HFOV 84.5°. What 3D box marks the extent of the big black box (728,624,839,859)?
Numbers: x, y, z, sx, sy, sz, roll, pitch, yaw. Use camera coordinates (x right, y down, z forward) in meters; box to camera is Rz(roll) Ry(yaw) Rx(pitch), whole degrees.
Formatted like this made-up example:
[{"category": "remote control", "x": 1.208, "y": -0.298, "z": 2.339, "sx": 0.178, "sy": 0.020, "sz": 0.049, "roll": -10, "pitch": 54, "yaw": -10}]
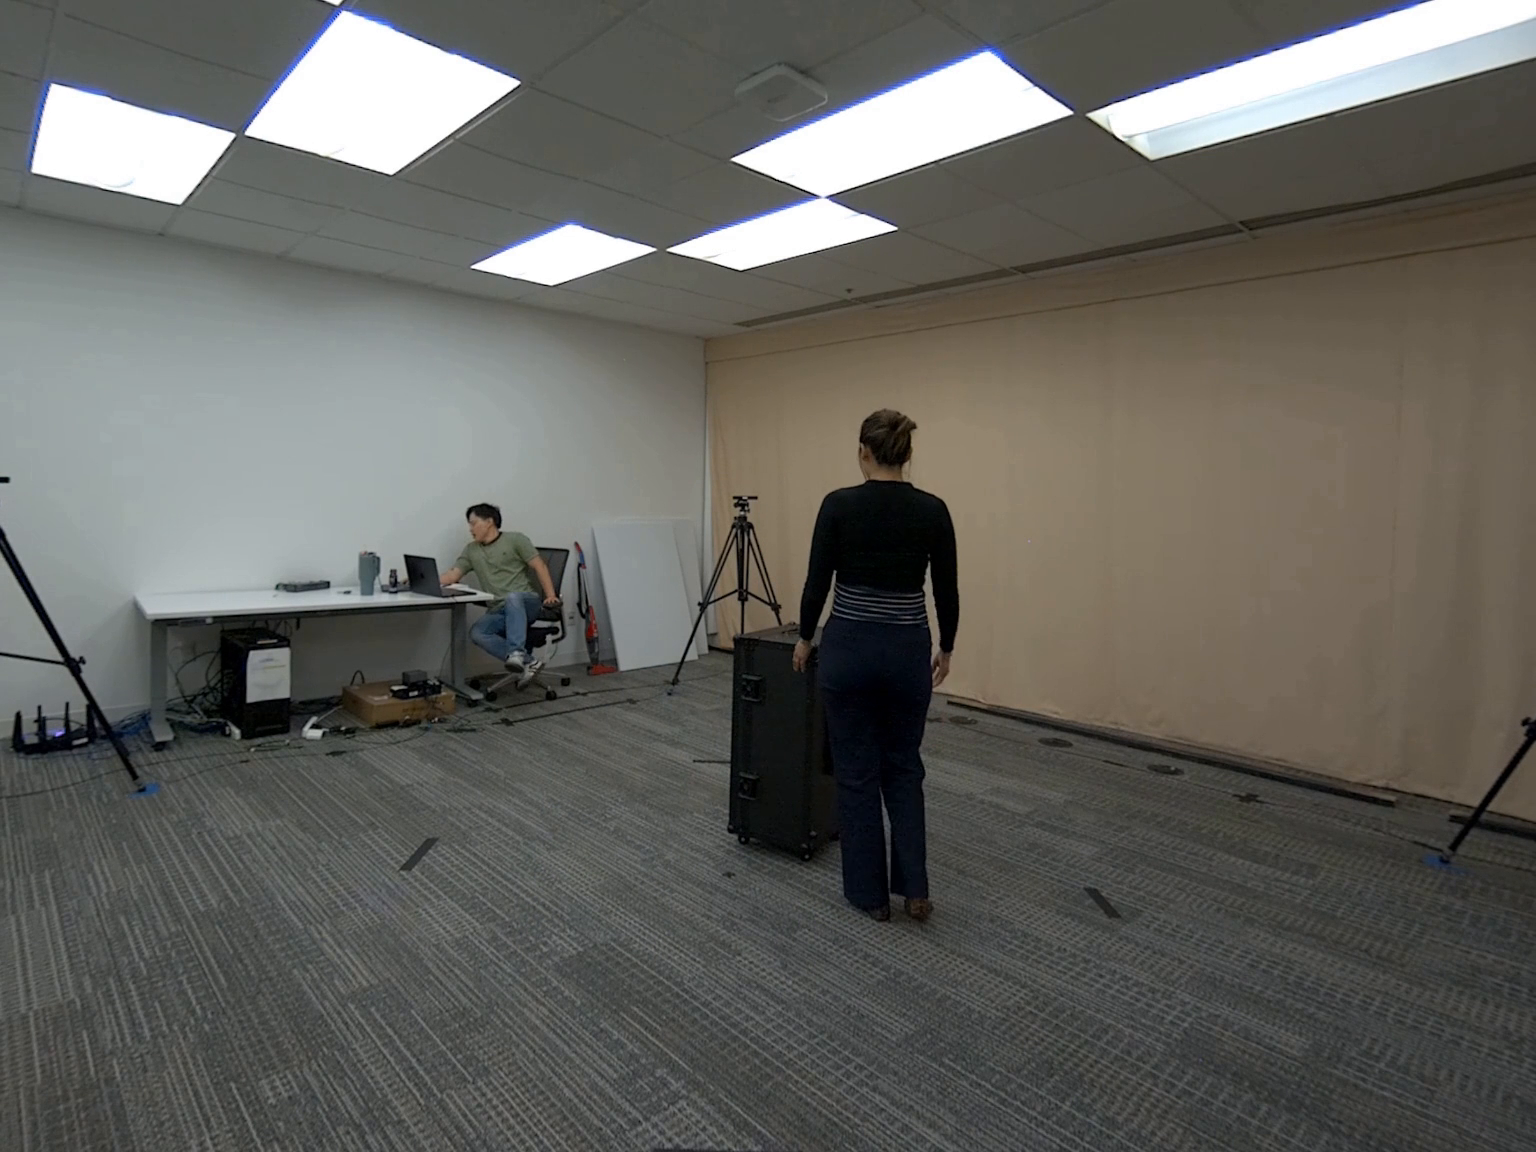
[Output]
[{"category": "big black box", "x": 0.128, "y": 0.657, "z": 3.414, "sx": 0.405, "sy": 0.859, "sz": 0.510, "roll": 5, "pitch": 4, "yaw": 32}]
